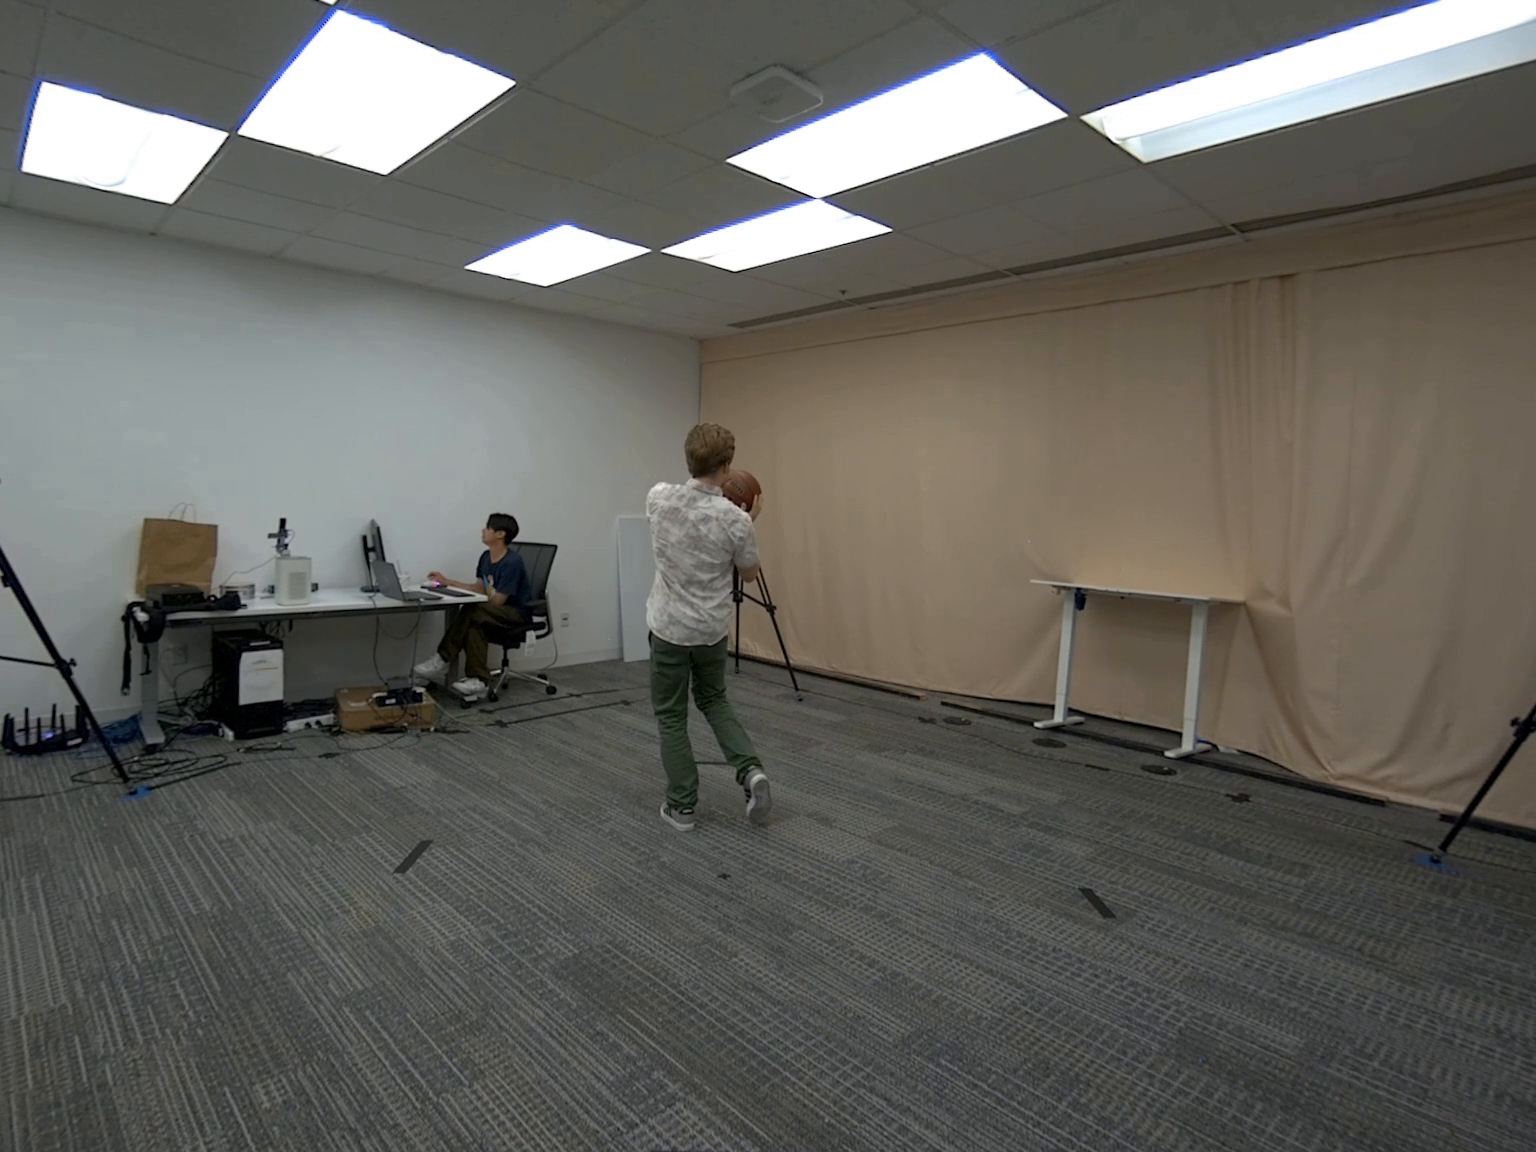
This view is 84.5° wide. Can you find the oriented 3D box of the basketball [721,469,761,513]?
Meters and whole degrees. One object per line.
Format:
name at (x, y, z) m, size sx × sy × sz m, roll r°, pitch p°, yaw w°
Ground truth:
basketball at (-0.158, -0.376, 3.894) m, size 0.236 × 0.235 × 0.237 m, roll 1°, pitch 4°, yaw -1°
